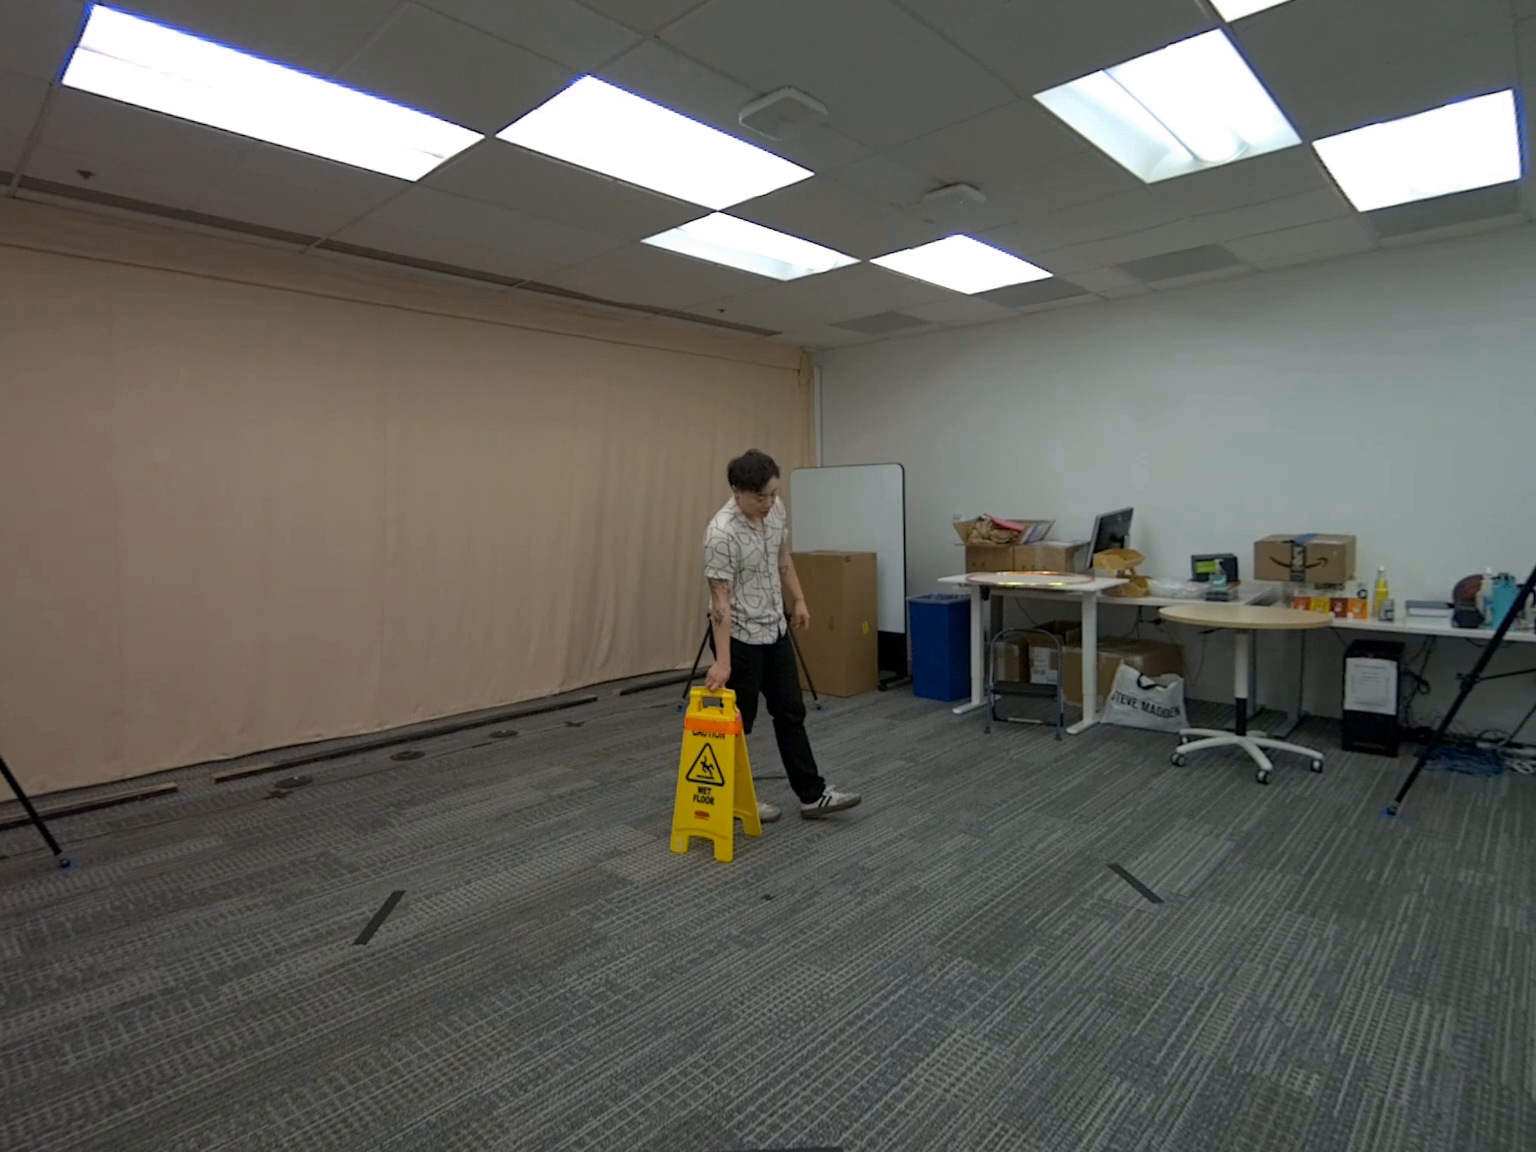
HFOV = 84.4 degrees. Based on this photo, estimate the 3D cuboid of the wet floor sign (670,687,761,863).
[{"bbox_3d":[-0.220,0.781,3.453,0.289,0.644,0.283,-1,4,26],"label":"wet floor sign"}]
